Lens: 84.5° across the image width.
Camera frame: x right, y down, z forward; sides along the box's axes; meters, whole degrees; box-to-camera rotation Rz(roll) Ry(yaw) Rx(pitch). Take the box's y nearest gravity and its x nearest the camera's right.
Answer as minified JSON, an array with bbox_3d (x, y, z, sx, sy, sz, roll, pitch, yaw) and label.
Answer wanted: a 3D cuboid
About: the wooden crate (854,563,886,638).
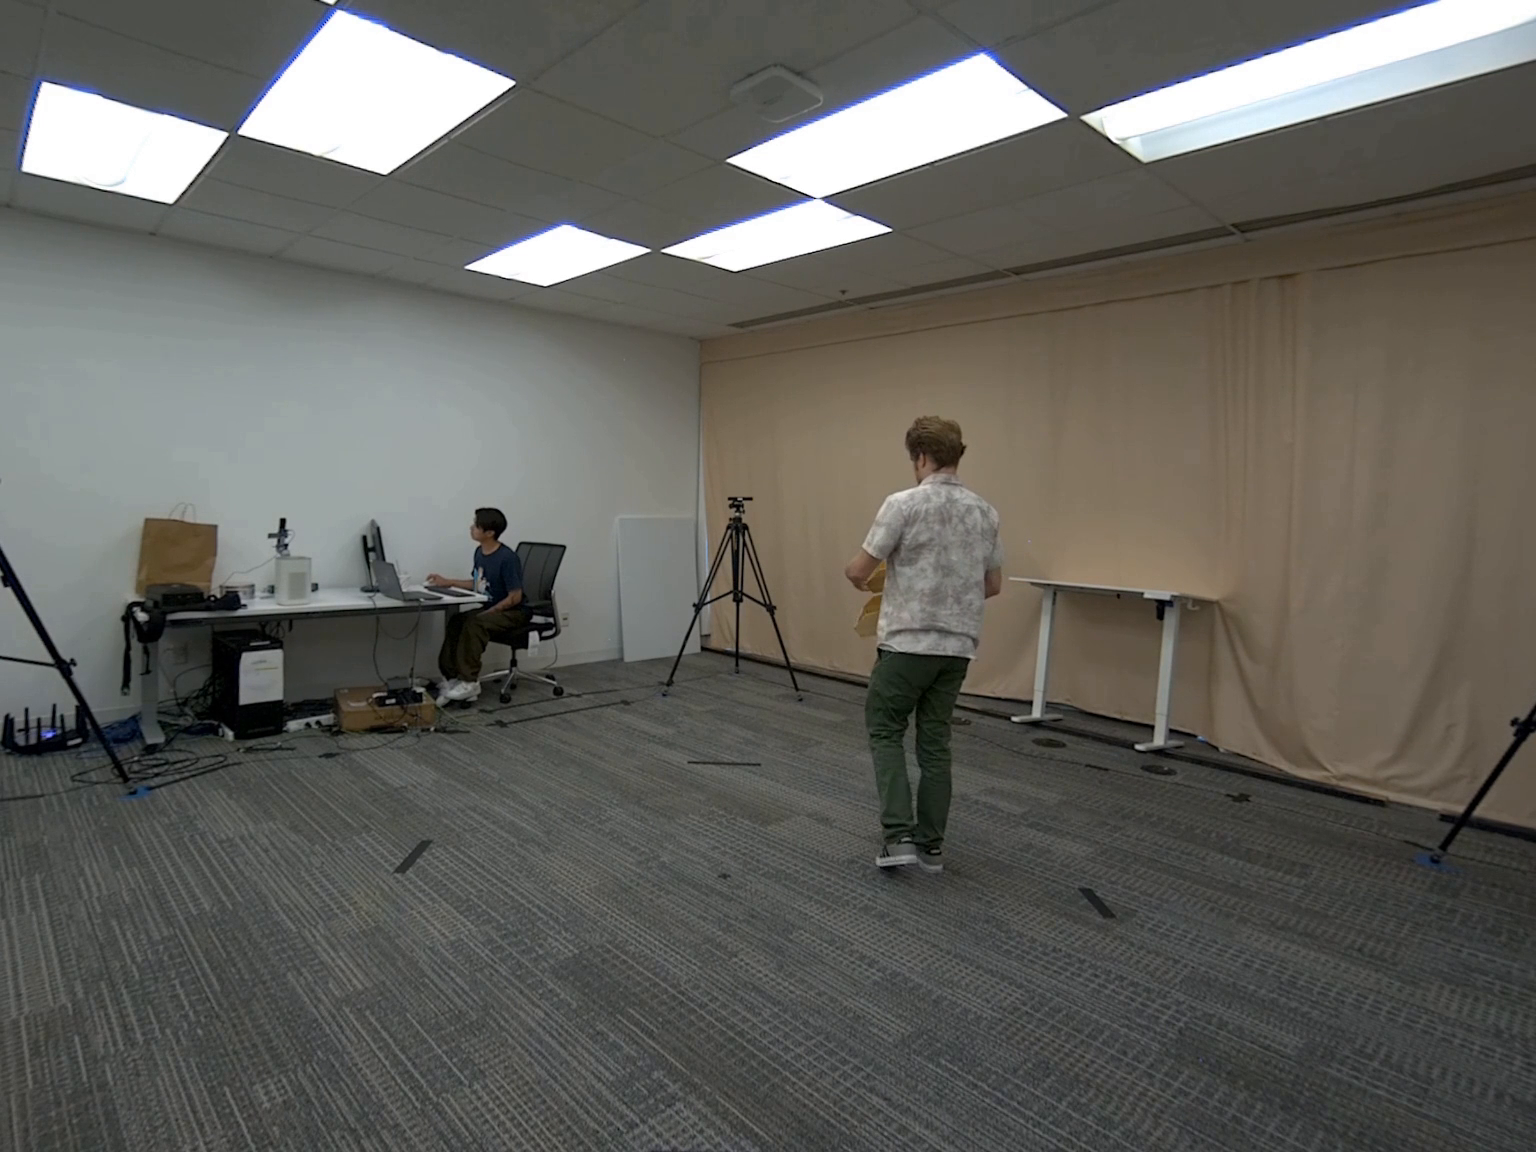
[{"bbox_3d":[0.482,0.064,3.512,0.305,0.271,0.324,-12,10,16],"label":"wooden crate"}]
